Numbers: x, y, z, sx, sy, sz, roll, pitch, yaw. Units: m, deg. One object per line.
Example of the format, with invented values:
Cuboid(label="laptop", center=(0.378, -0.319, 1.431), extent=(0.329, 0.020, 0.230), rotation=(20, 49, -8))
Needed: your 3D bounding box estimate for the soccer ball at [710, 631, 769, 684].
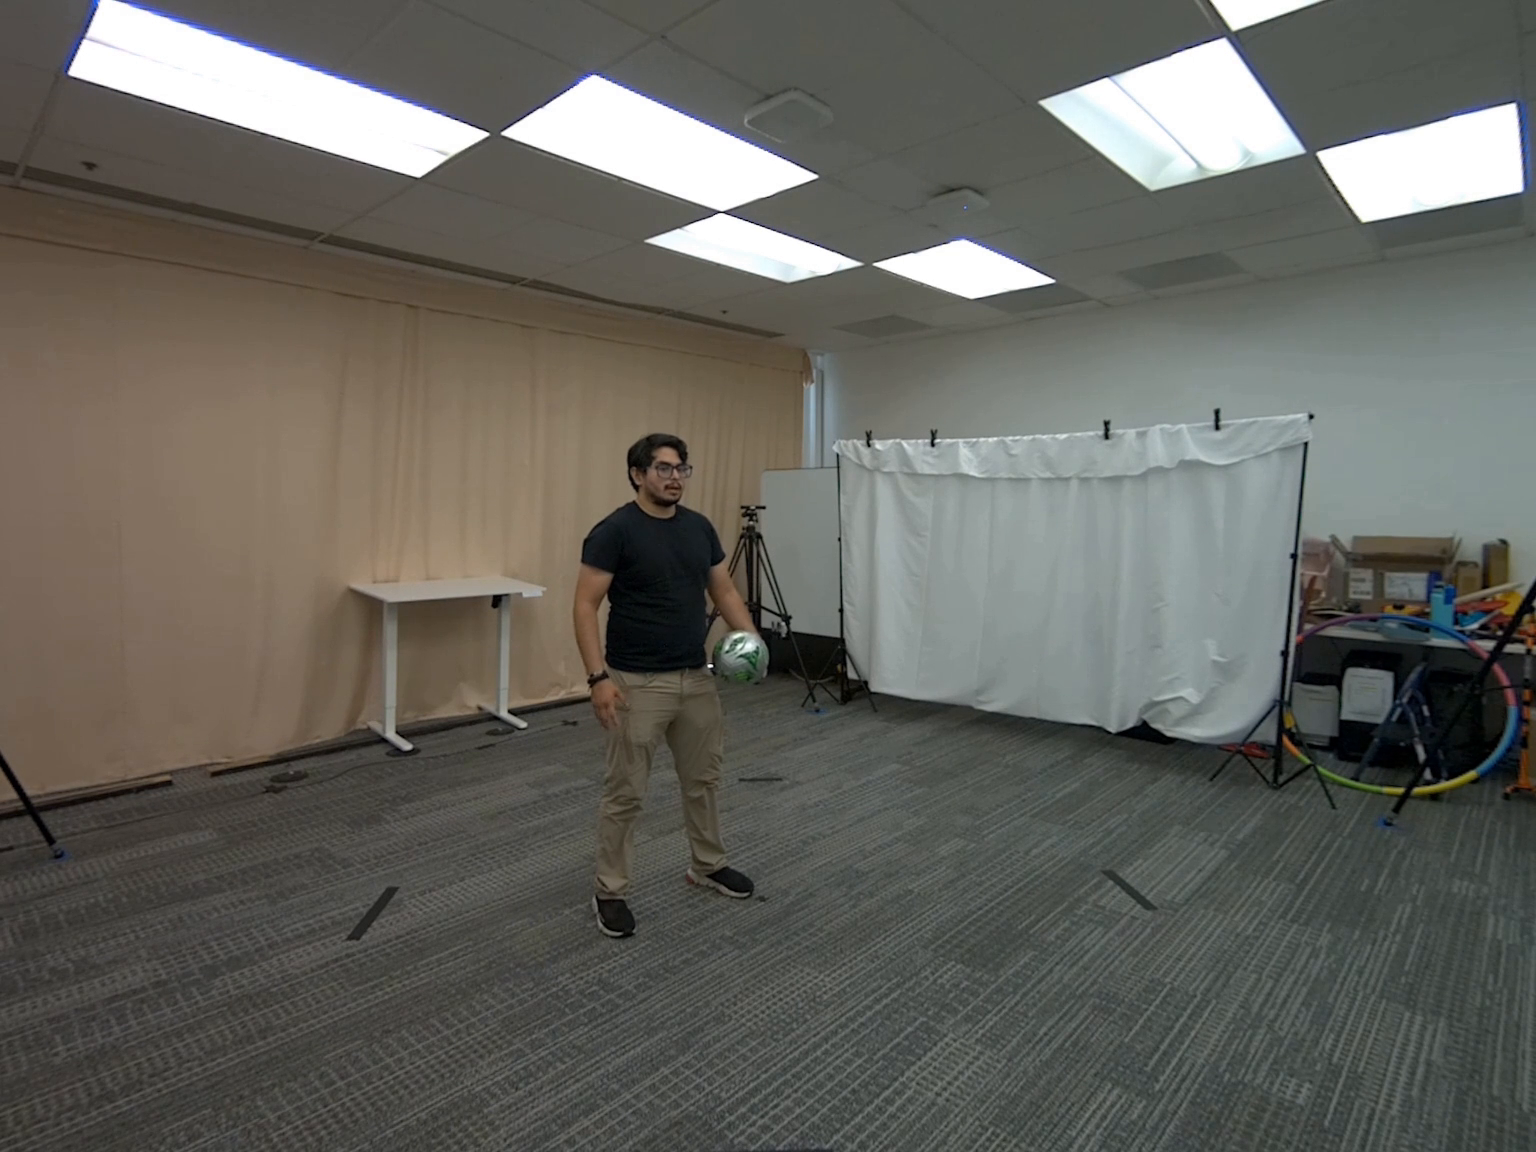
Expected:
Cuboid(label="soccer ball", center=(-0.088, 0.274, 2.793), extent=(0.187, 0.187, 0.188), rotation=(0, 4, -2))
